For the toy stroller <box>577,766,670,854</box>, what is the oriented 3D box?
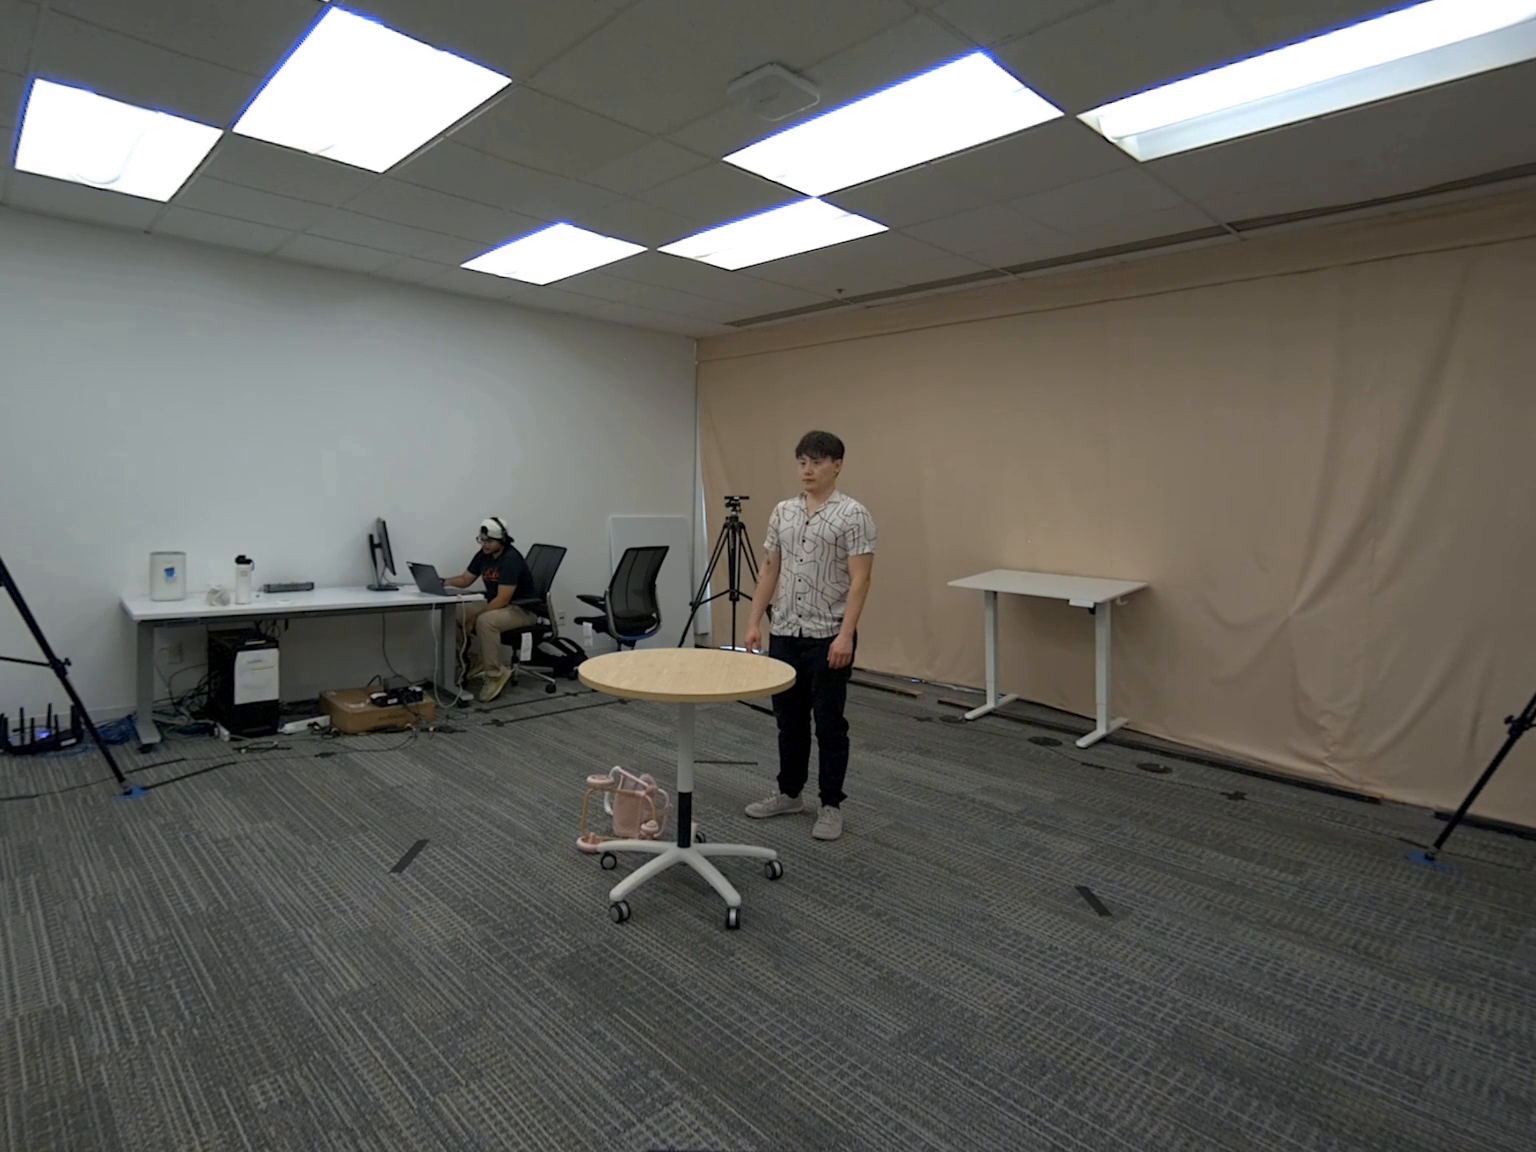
[{"bbox_3d":[-0.569,0.945,3.445,0.343,0.282,0.531,4,-2,6],"label":"toy stroller"}]
